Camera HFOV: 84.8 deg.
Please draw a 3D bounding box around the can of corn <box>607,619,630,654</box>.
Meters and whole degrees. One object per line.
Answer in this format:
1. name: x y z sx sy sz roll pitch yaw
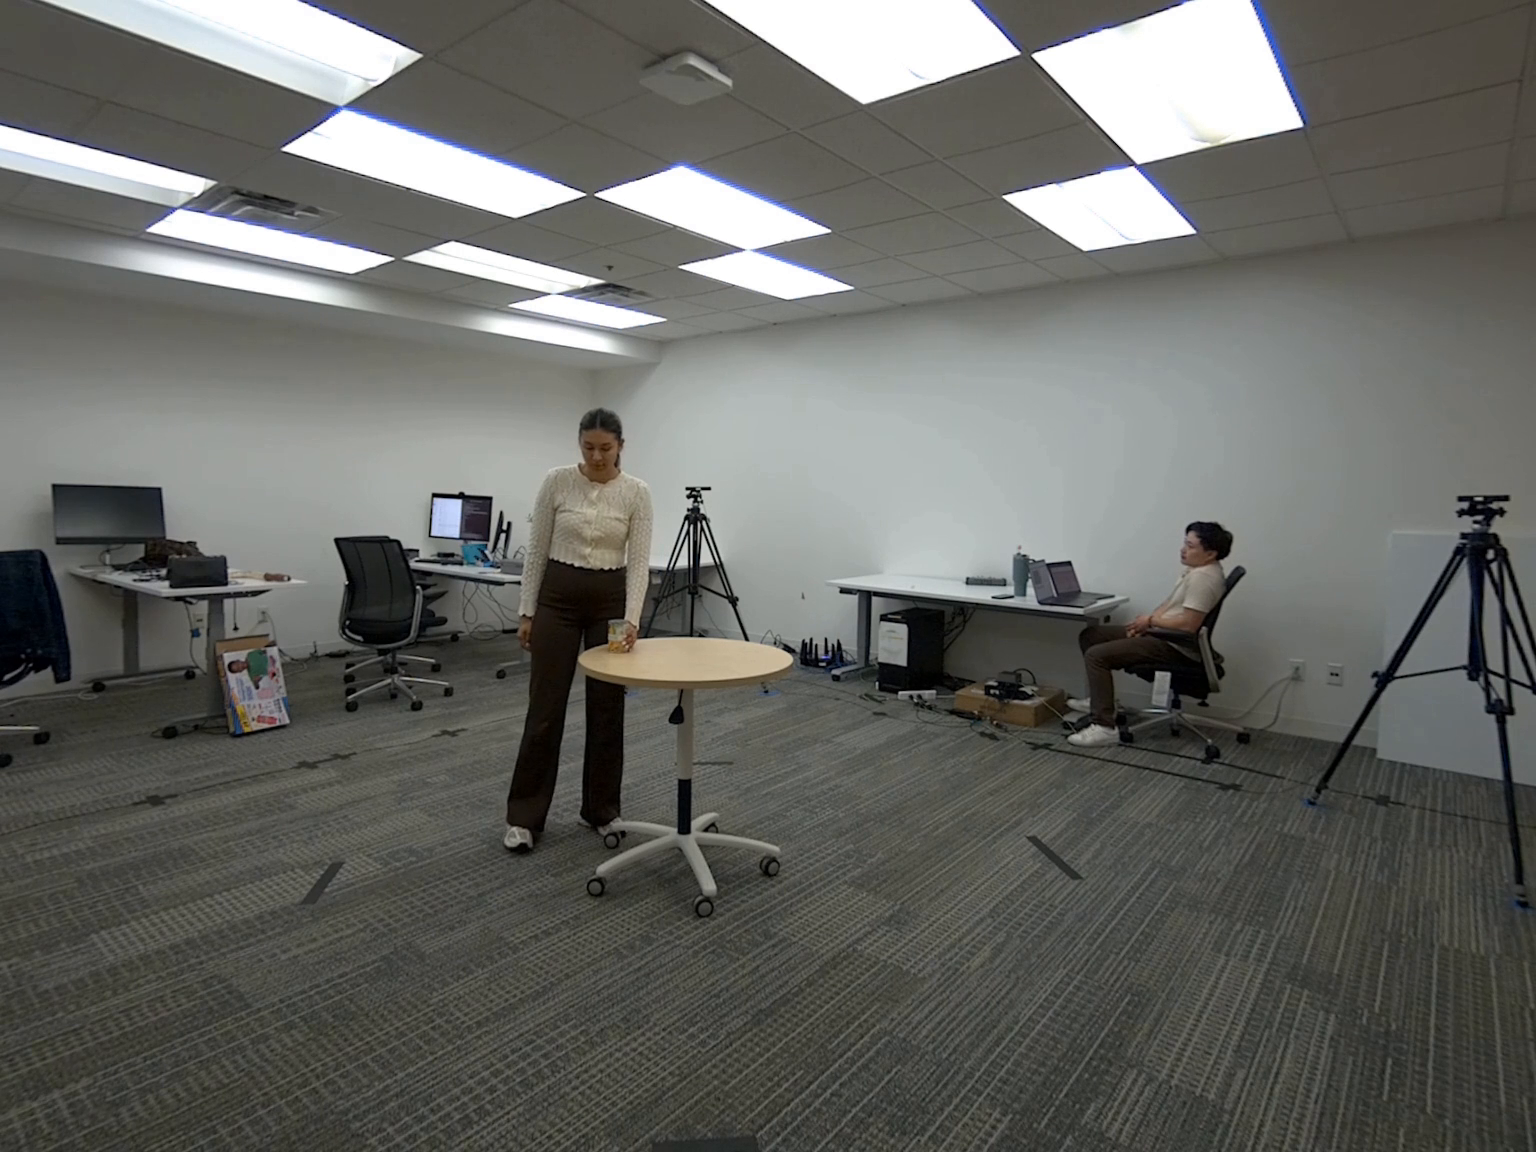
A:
1. can of corn: -0.560 0.220 3.129 0.074 0.111 0.074 0 2 -2
